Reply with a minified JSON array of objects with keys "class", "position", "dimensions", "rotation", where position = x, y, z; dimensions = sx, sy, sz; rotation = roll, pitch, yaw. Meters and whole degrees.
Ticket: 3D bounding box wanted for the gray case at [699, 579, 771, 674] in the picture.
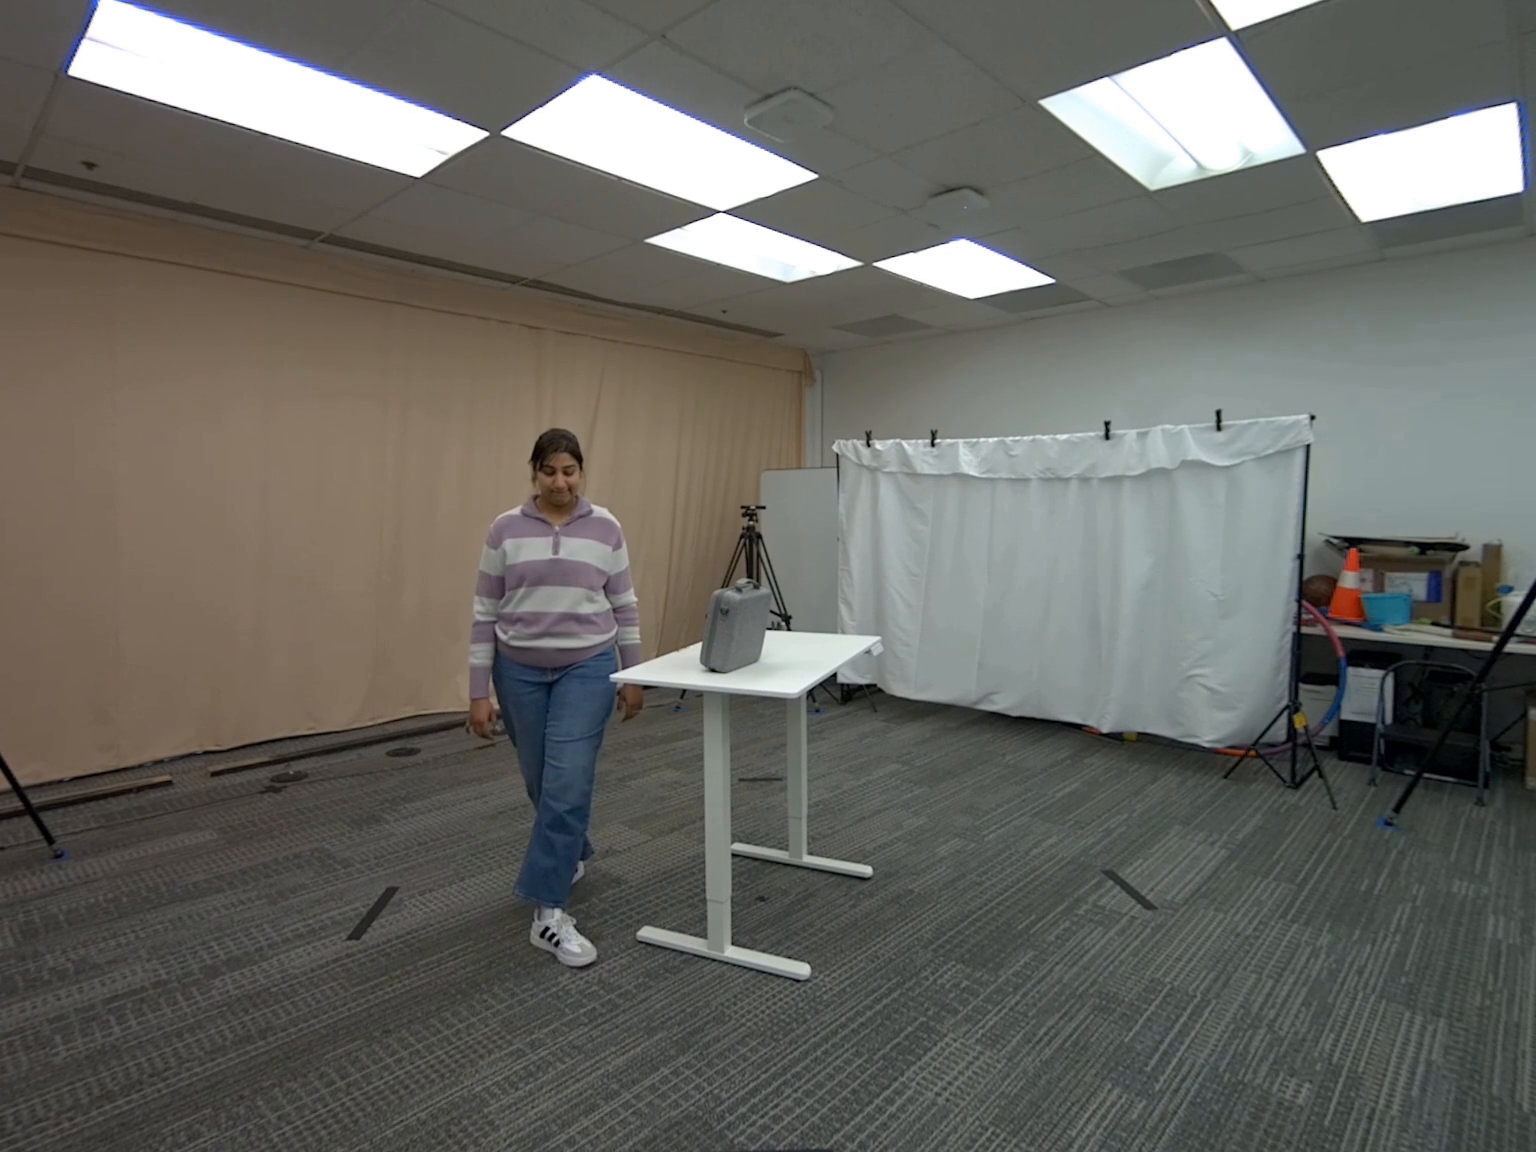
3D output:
[{"class":"gray case","position":[-0.090,0.159,2.665],"dimensions":[0.107,0.259,0.250],"rotation":[15,12,26]}]
